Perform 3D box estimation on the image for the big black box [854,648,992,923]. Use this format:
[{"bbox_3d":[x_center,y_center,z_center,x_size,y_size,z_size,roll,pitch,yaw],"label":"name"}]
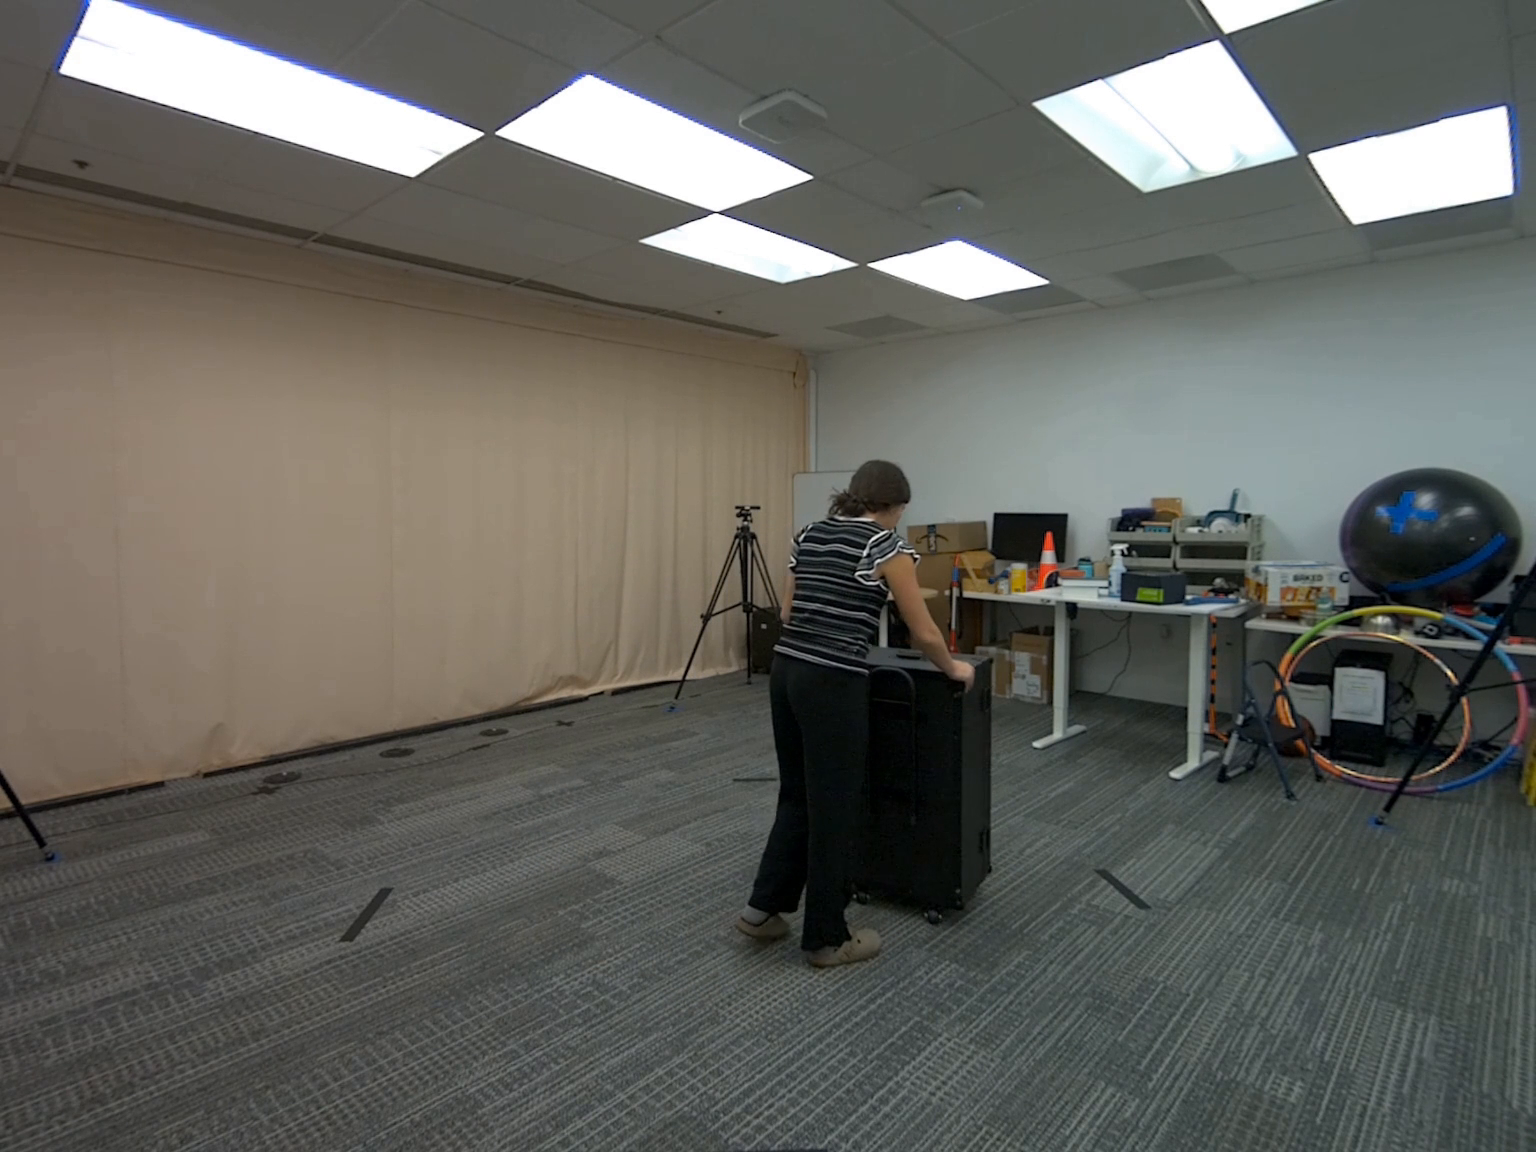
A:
[{"bbox_3d":[0.511,0.717,2.989,0.537,0.859,0.386,2,5,31],"label":"big black box"}]
